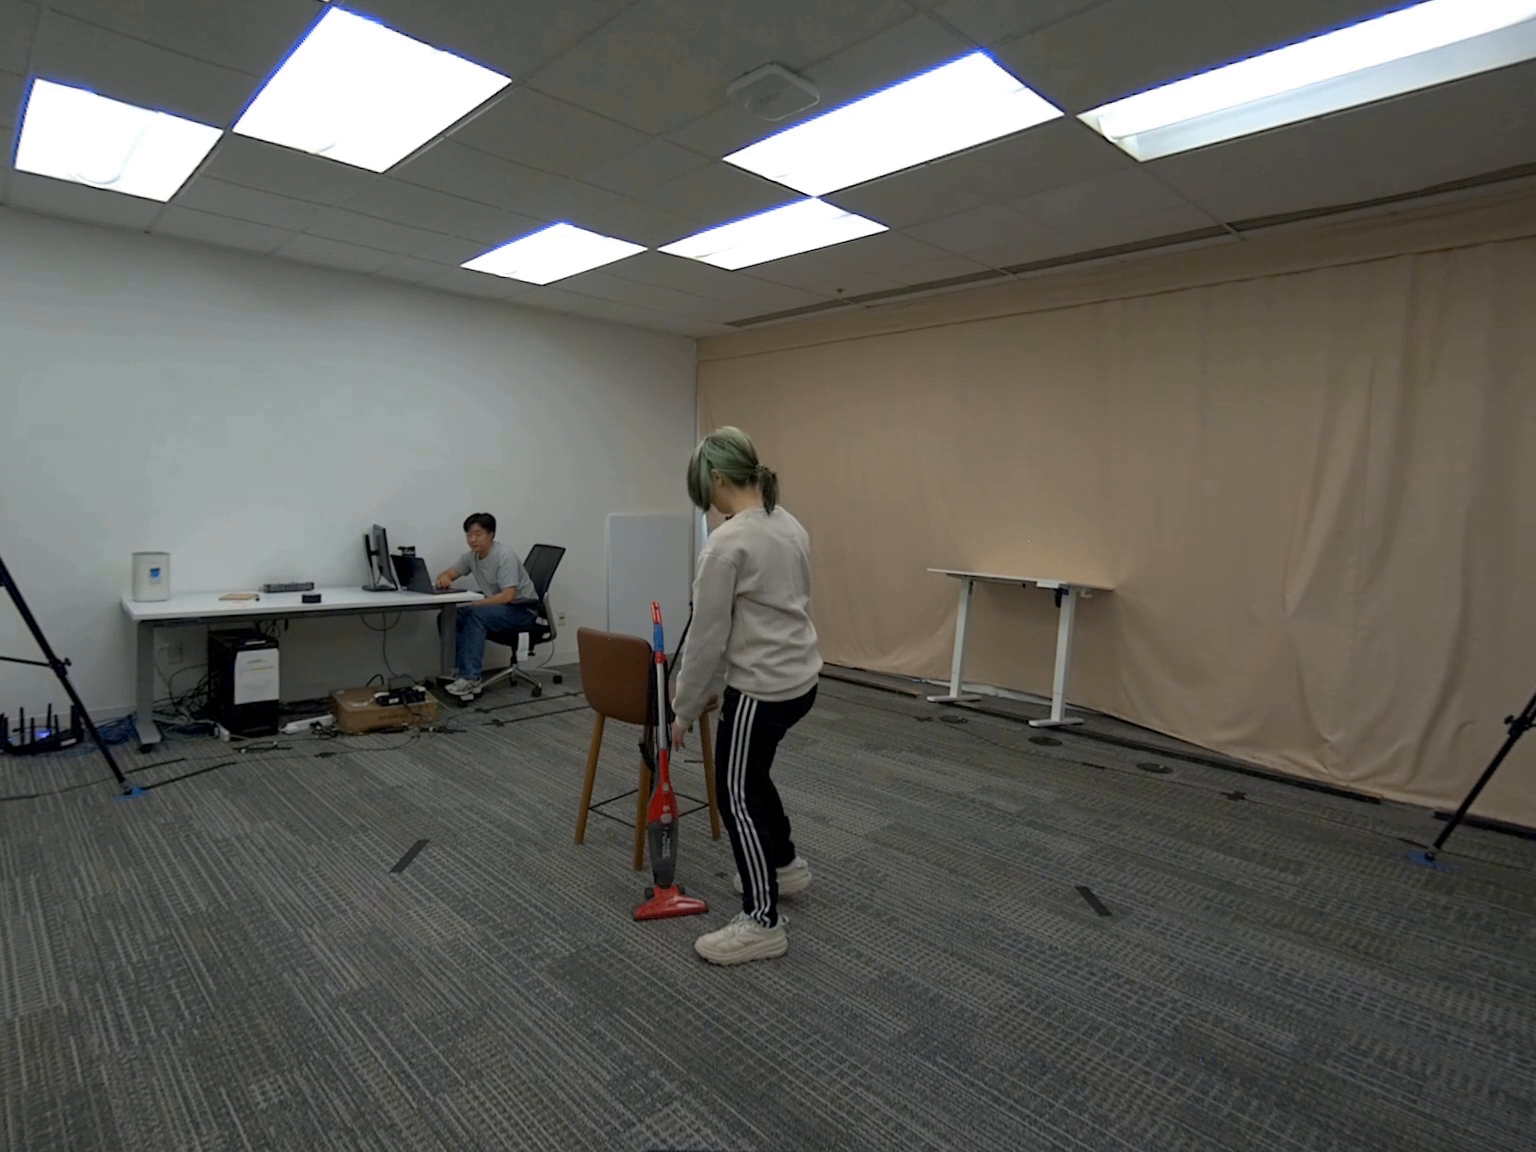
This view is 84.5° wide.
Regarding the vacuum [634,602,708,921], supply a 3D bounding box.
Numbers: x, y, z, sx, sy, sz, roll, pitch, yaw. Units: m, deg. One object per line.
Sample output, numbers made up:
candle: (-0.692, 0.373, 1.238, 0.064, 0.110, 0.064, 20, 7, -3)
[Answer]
vacuum: (-0.385, 0.616, 2.991, 0.249, 1.063, 0.144, 0, -17, -18)
